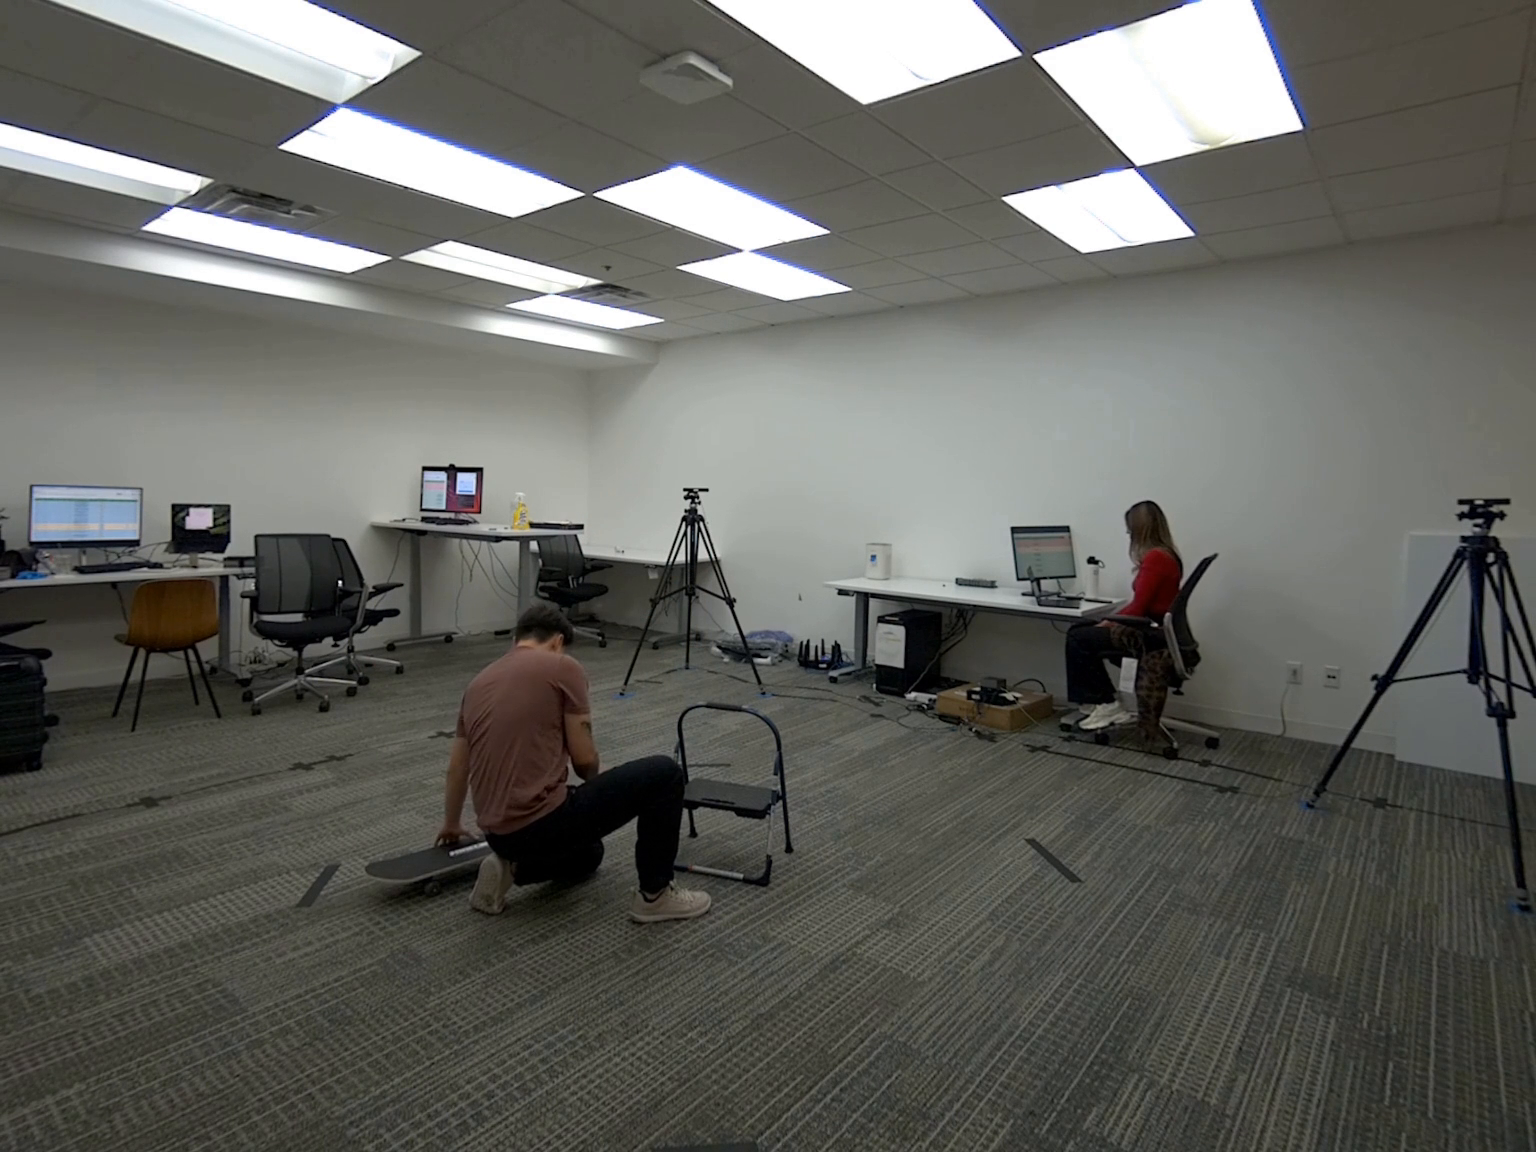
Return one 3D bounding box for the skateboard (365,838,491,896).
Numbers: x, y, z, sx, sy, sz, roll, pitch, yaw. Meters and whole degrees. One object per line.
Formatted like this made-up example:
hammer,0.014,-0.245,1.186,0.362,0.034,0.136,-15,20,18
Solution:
skateboard,-1.058,1.004,3.066,0.762,0.110,0.200,-4,6,-42
